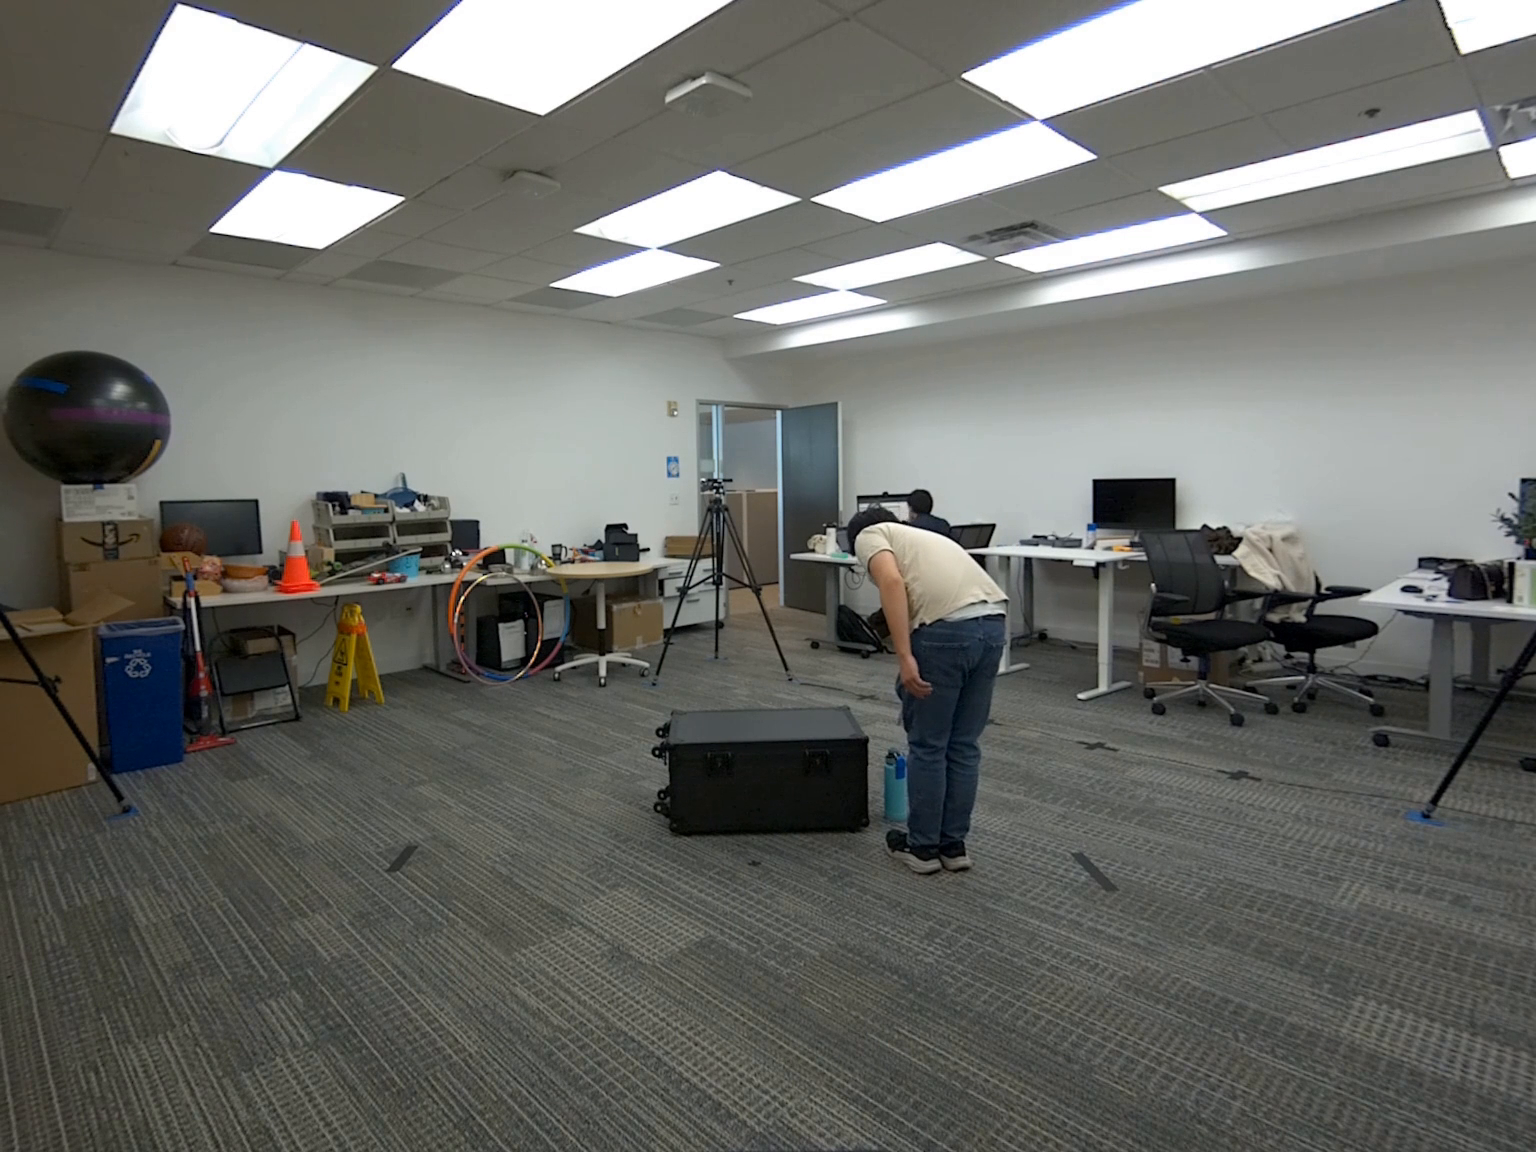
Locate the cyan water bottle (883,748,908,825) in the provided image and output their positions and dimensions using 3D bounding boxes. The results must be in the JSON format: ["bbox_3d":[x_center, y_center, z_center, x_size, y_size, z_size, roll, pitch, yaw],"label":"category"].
[{"bbox_3d":[0.517,0.843,3.493,0.092,0.283,0.092,-2,2,-2],"label":"cyan water bottle"}]
